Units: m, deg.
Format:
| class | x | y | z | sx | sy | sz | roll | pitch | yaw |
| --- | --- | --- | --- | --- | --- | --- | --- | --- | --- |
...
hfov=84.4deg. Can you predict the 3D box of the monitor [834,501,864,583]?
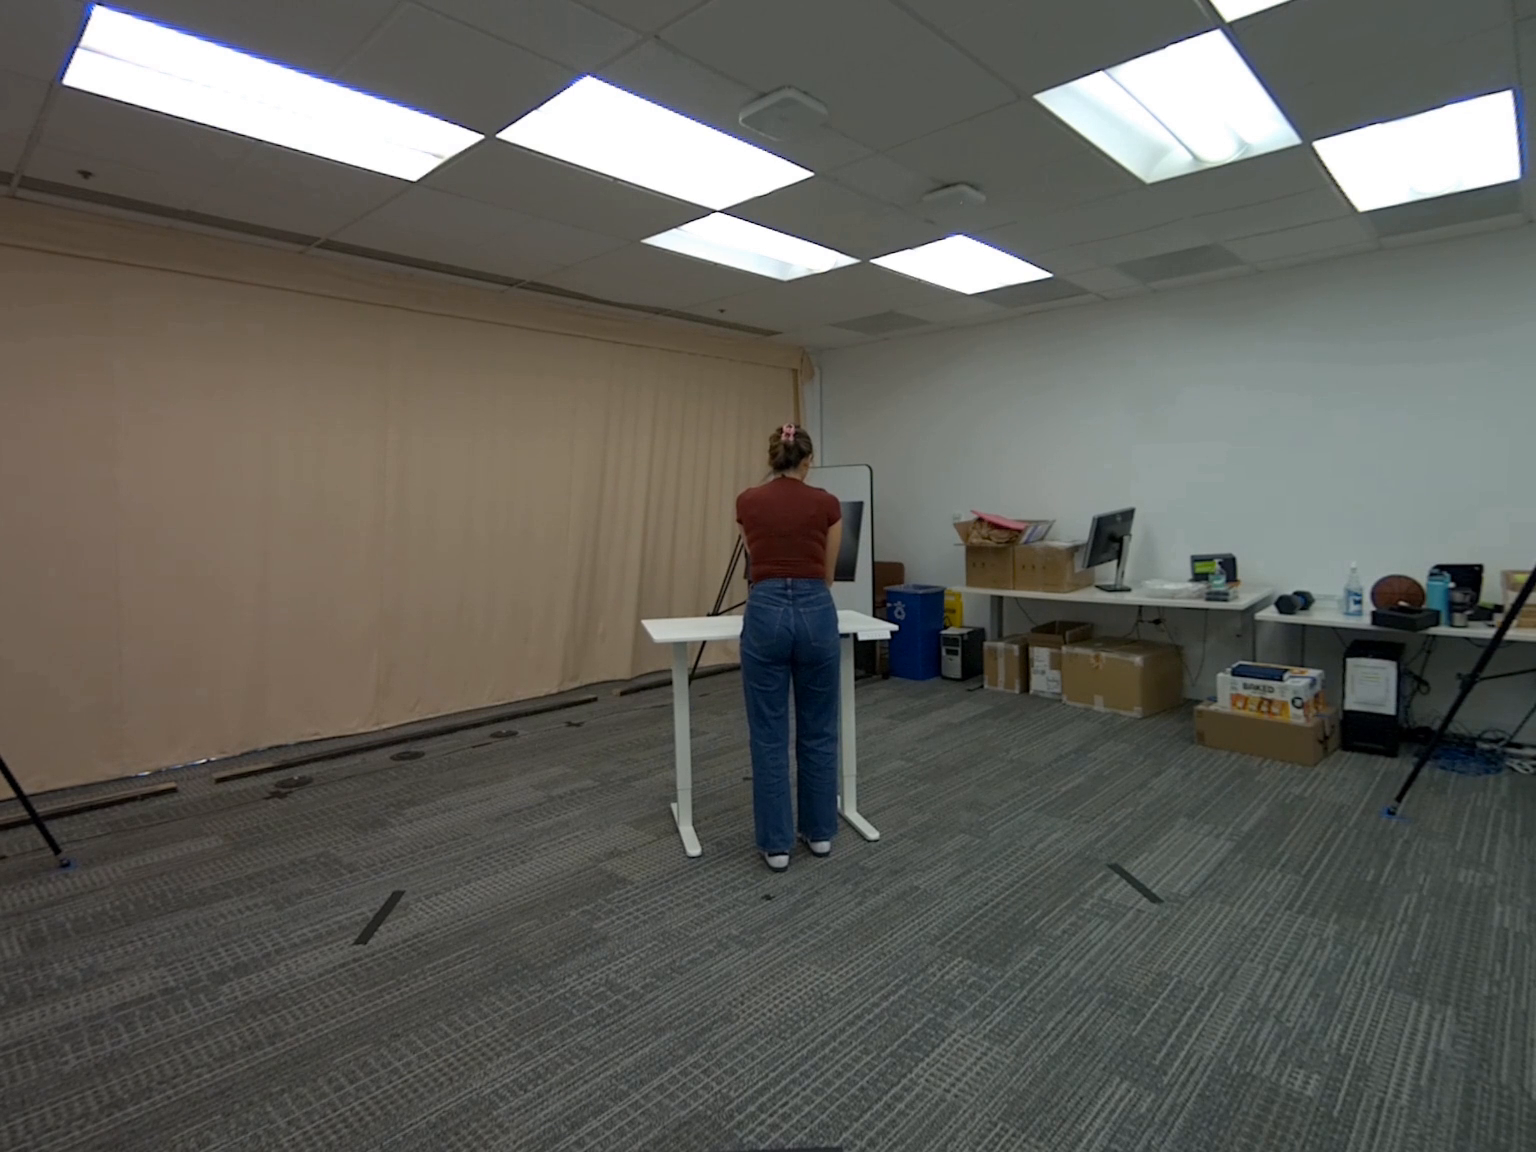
| class | x | y | z | sx | sy | sz | roll | pitch | yaw |
| --- | --- | --- | --- | --- | --- | --- | --- | --- | --- |
| monitor | 0.174 | -0.062 | 3.694 | 0.554 | 0.522 | 0.182 | 1 | 0 | 30 |
